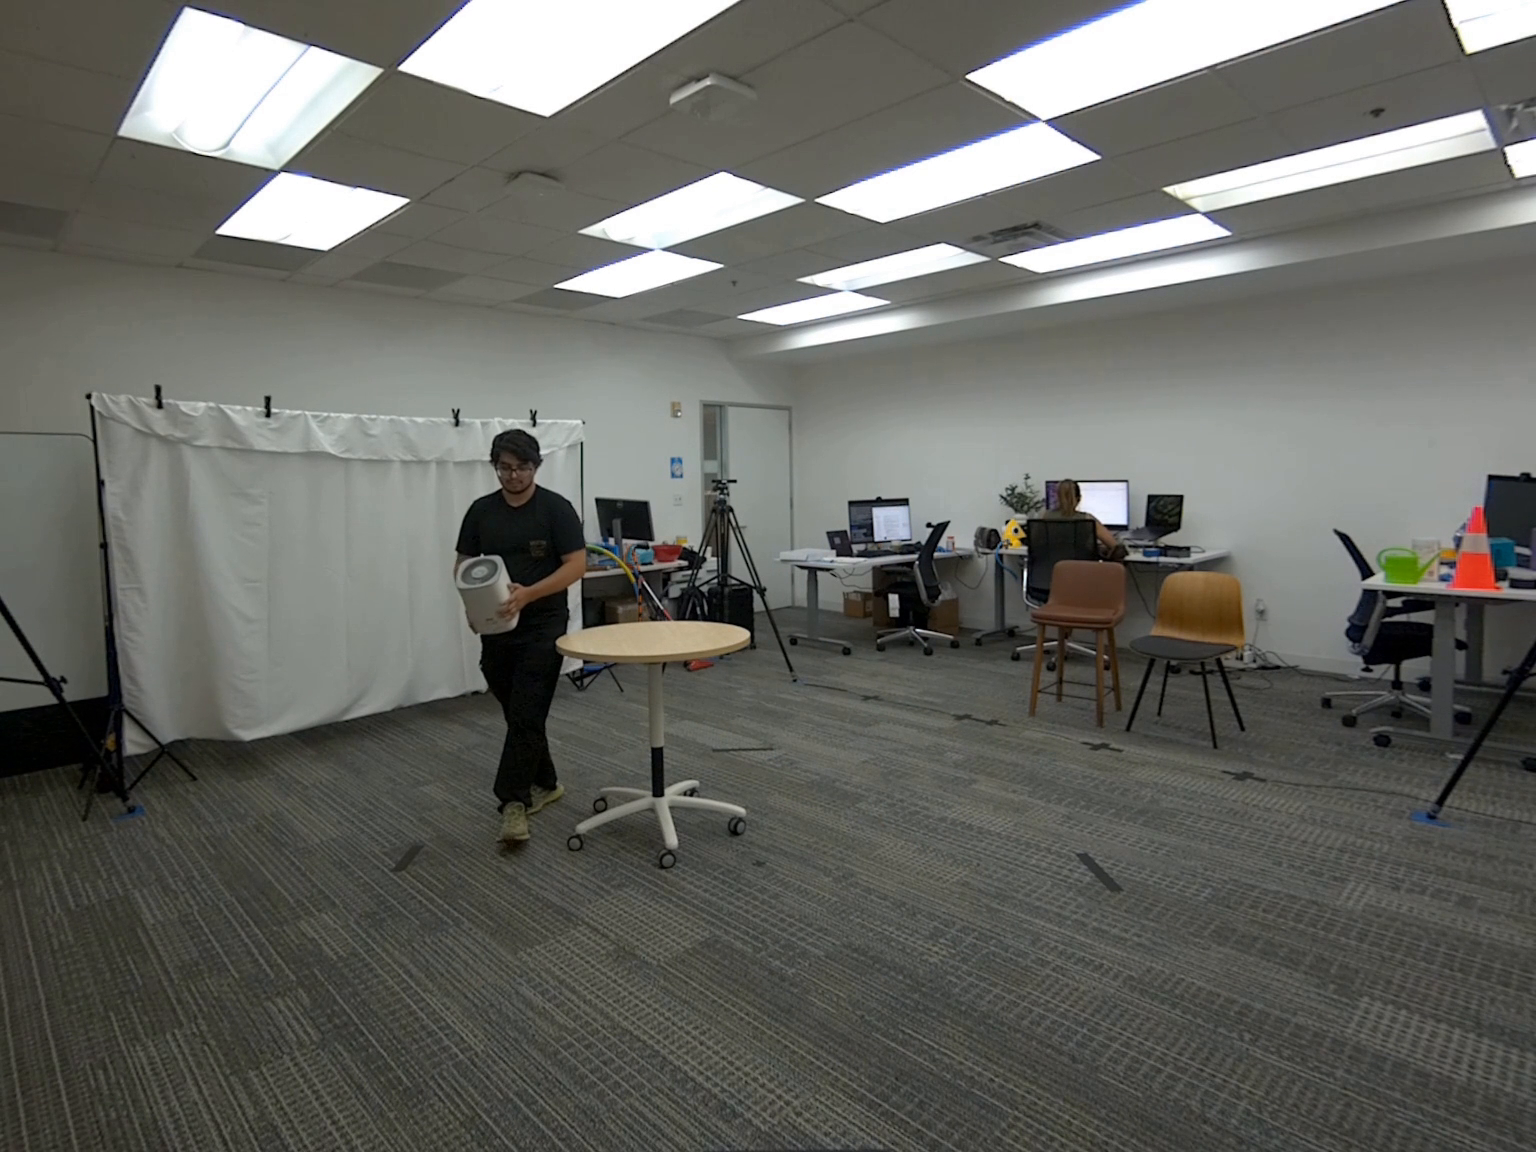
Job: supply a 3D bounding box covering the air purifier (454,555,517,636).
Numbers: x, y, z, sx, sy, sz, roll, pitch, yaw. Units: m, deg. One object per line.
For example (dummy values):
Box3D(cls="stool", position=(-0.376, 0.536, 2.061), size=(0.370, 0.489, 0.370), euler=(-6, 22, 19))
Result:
Box3D(cls="air purifier", position=(-1.067, 0.074, 3.261), size=(0.168, 0.254, 0.179), euler=(-7, 41, 0))
